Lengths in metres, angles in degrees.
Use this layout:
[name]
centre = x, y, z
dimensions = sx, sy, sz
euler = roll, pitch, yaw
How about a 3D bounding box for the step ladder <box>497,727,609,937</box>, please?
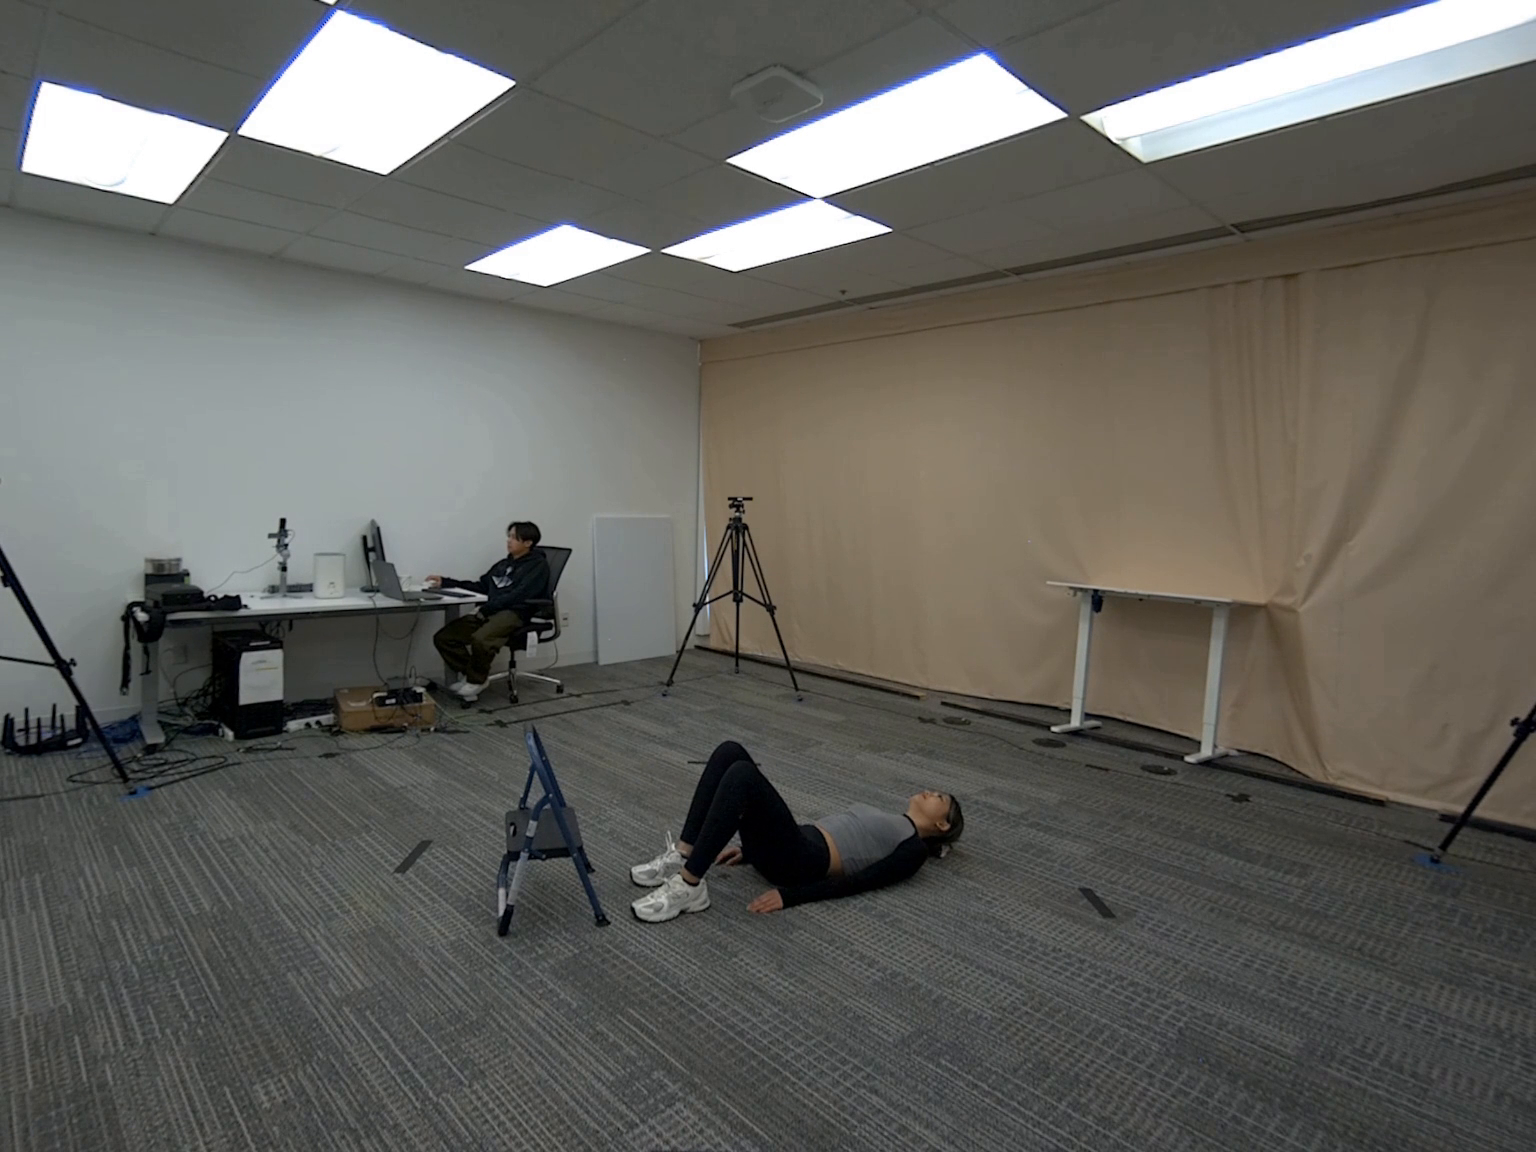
[step ladder]
centre = -0.743, 0.815, 2.861
dimensions = 0.344, 0.604, 0.438
euler = 0, 4, -19
